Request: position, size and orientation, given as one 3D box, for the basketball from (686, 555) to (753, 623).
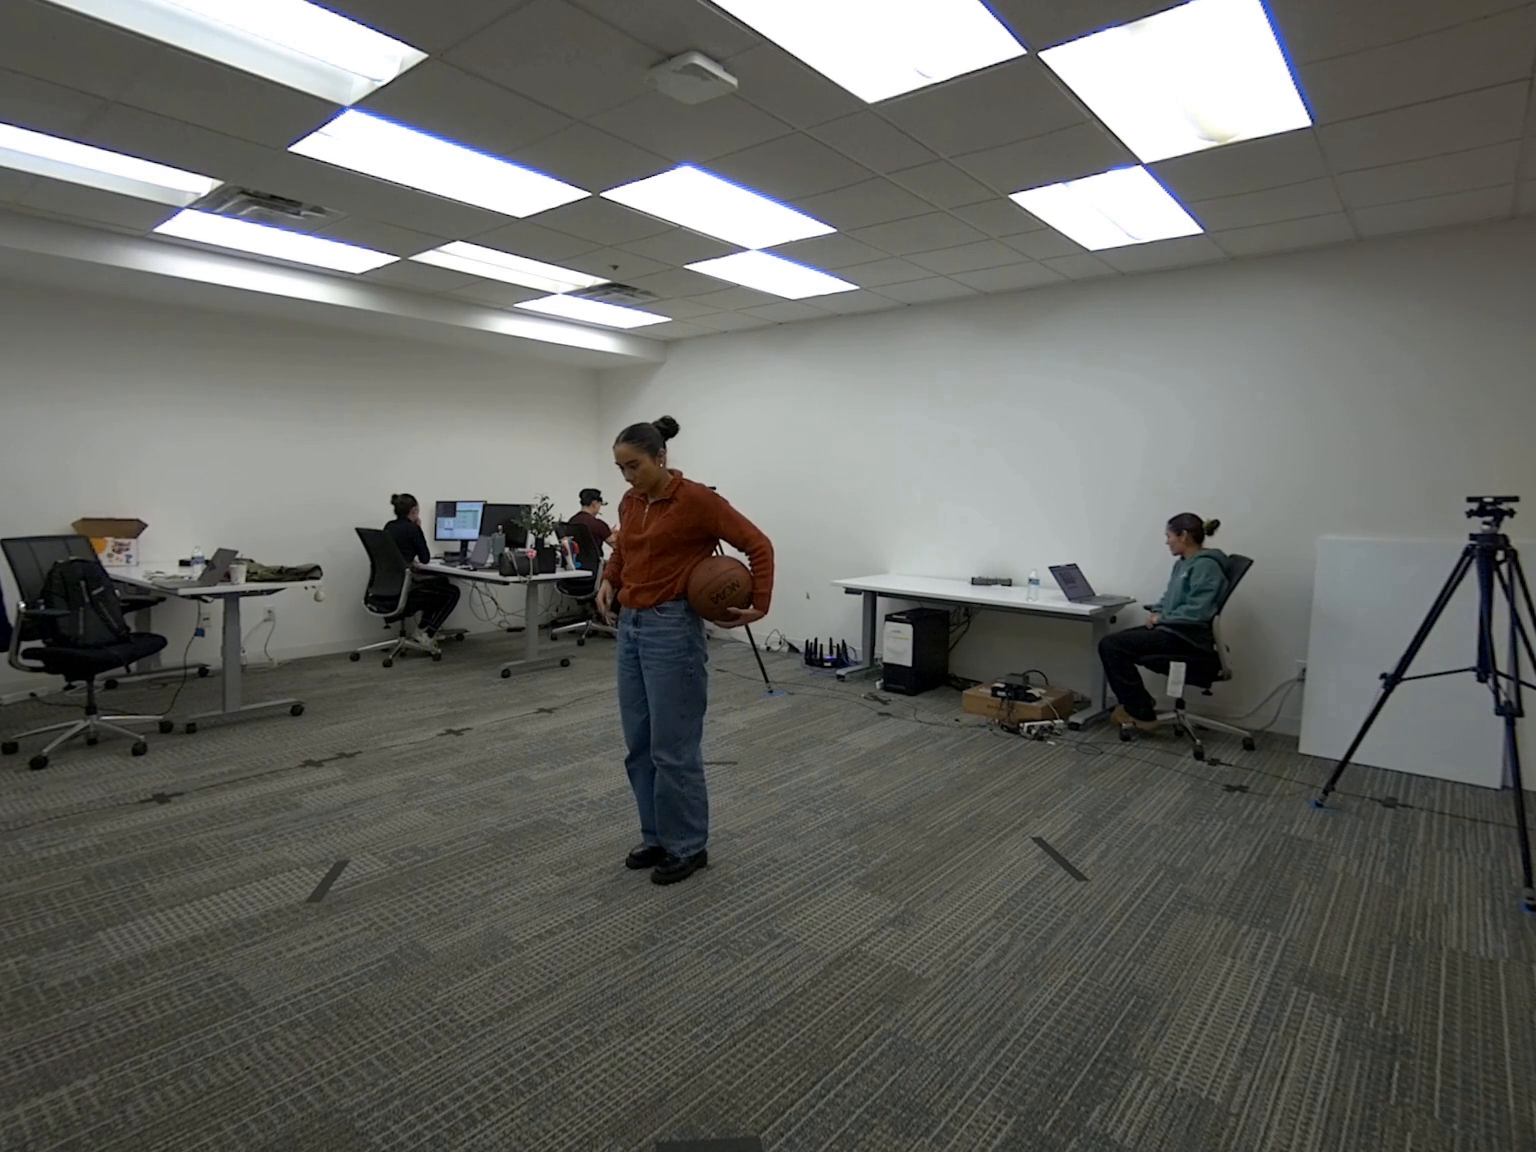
[{"bbox_3d":[-0.183,0.051,2.928,0.235,0.235,0.237,1,4,-2],"label":"basketball"}]
